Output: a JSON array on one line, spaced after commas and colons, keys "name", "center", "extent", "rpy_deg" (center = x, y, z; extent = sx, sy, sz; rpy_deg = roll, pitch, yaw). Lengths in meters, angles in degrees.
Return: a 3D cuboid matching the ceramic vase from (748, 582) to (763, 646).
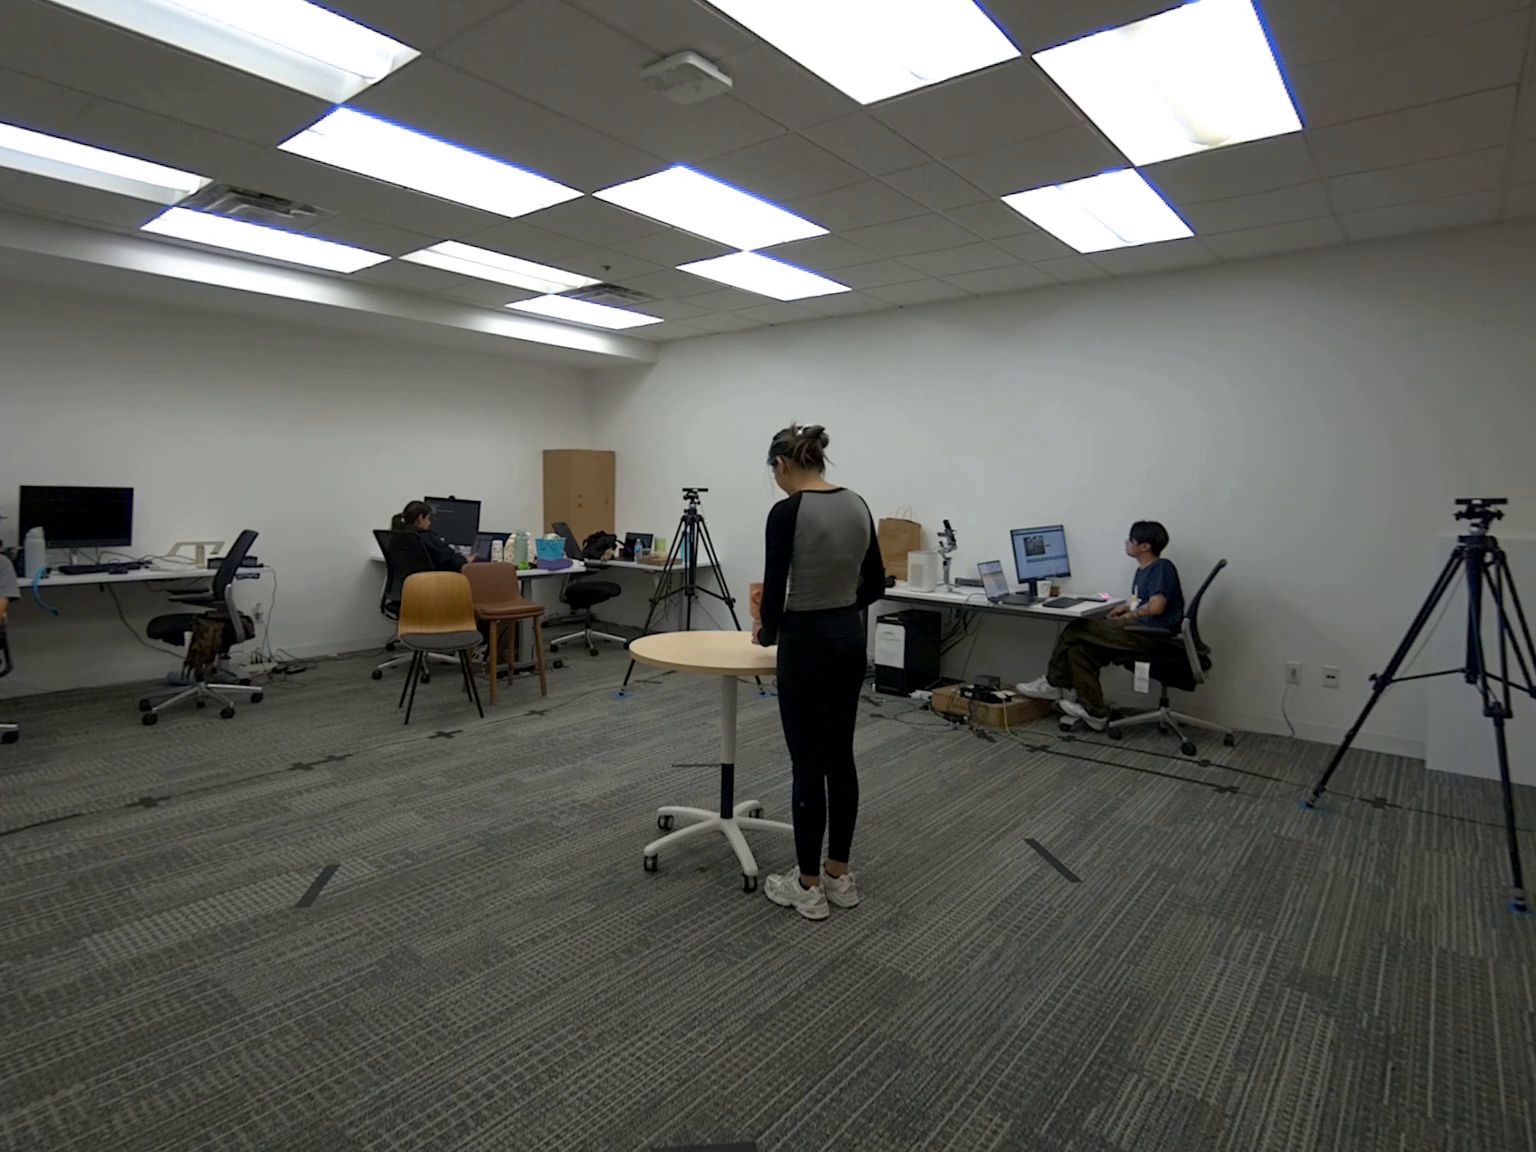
[{"name": "ceramic vase", "center": [-0.008, 0.131, 3.046], "extent": [0.156, 0.220, 0.136], "rpy_deg": [0, -2, -17]}]
